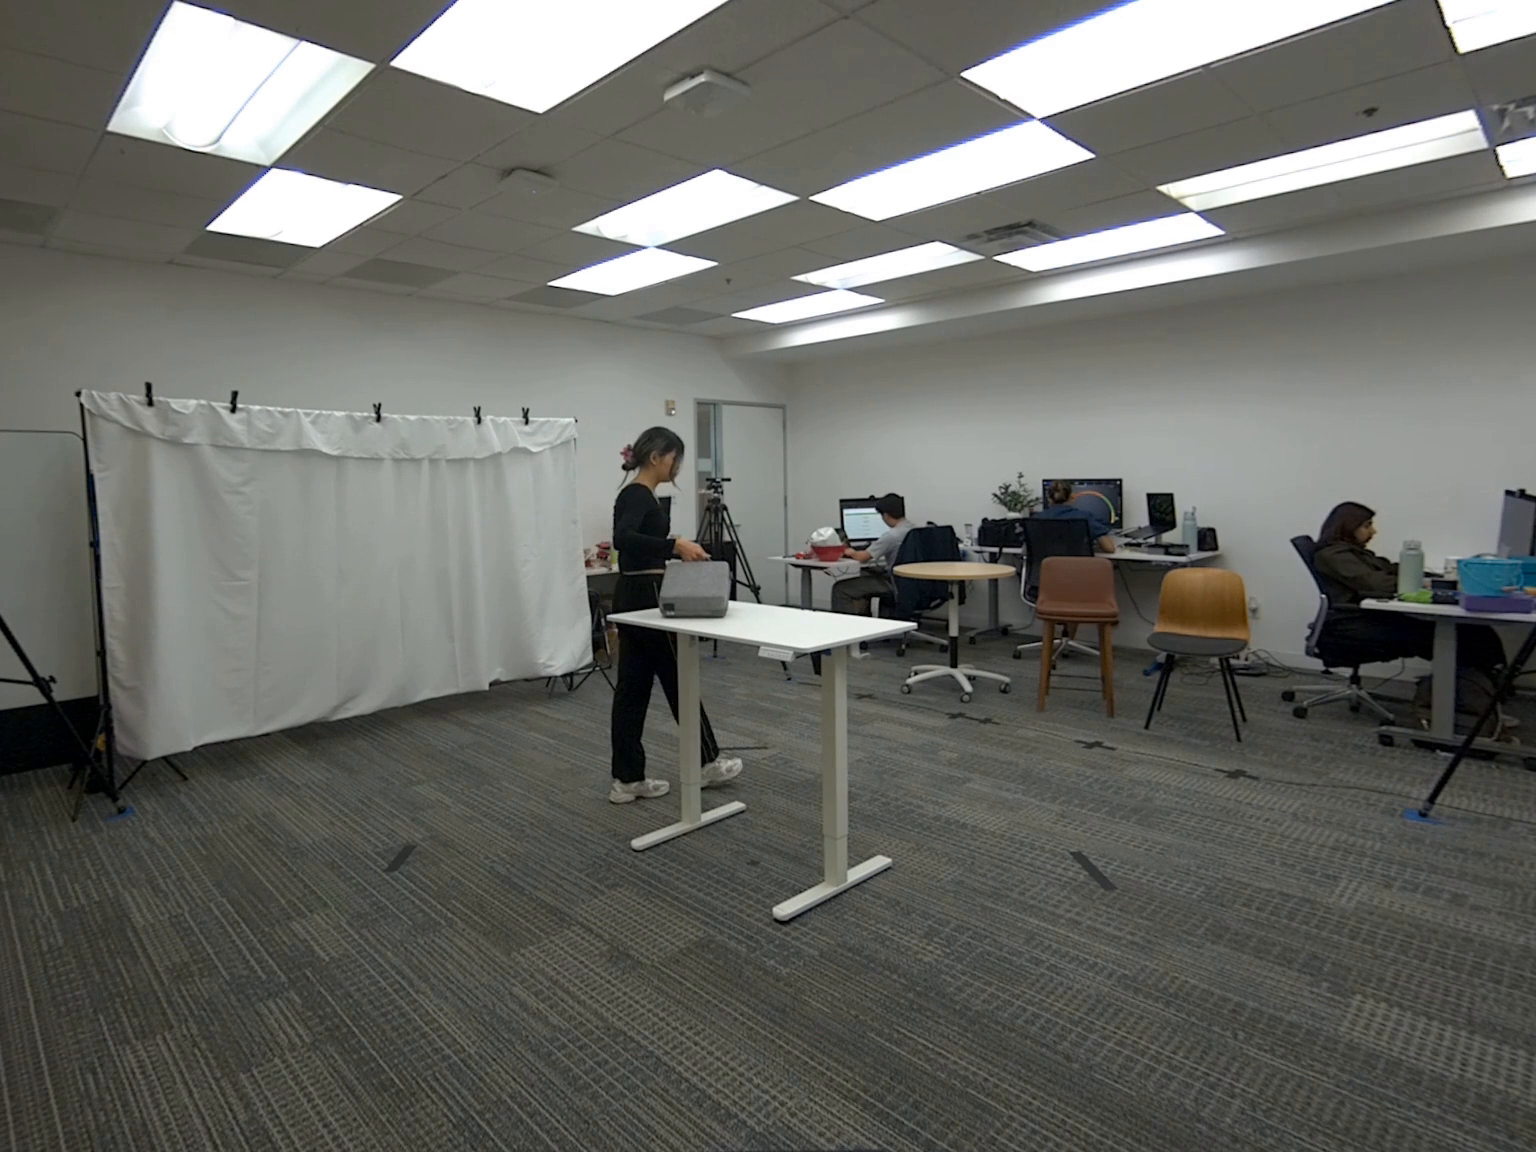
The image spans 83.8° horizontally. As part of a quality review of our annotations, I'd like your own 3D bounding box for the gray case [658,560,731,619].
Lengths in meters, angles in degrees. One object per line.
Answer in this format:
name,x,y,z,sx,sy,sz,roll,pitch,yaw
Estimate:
gray case,-0.269,0.043,3.239,0.258,0.101,0.266,0,36,3
